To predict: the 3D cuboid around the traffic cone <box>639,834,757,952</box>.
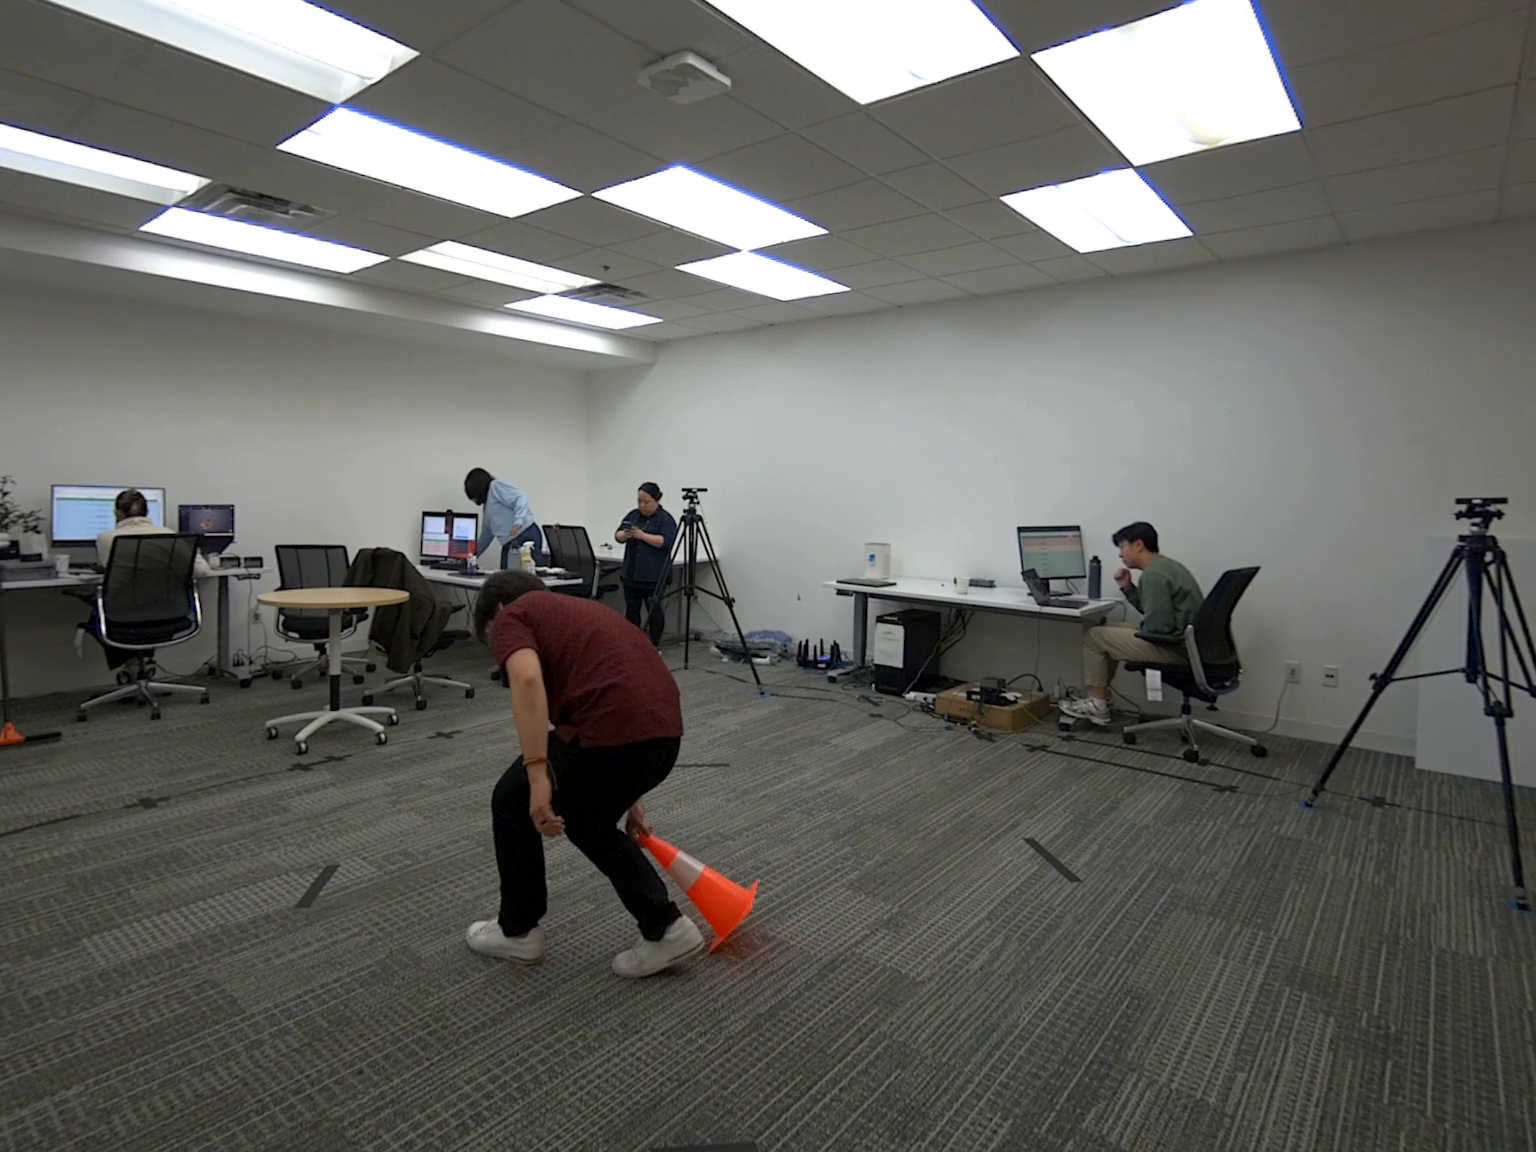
[{"bbox_3d":[-0.255,0.930,2.625,0.384,0.203,0.205,38,13,0],"label":"traffic cone"}]
